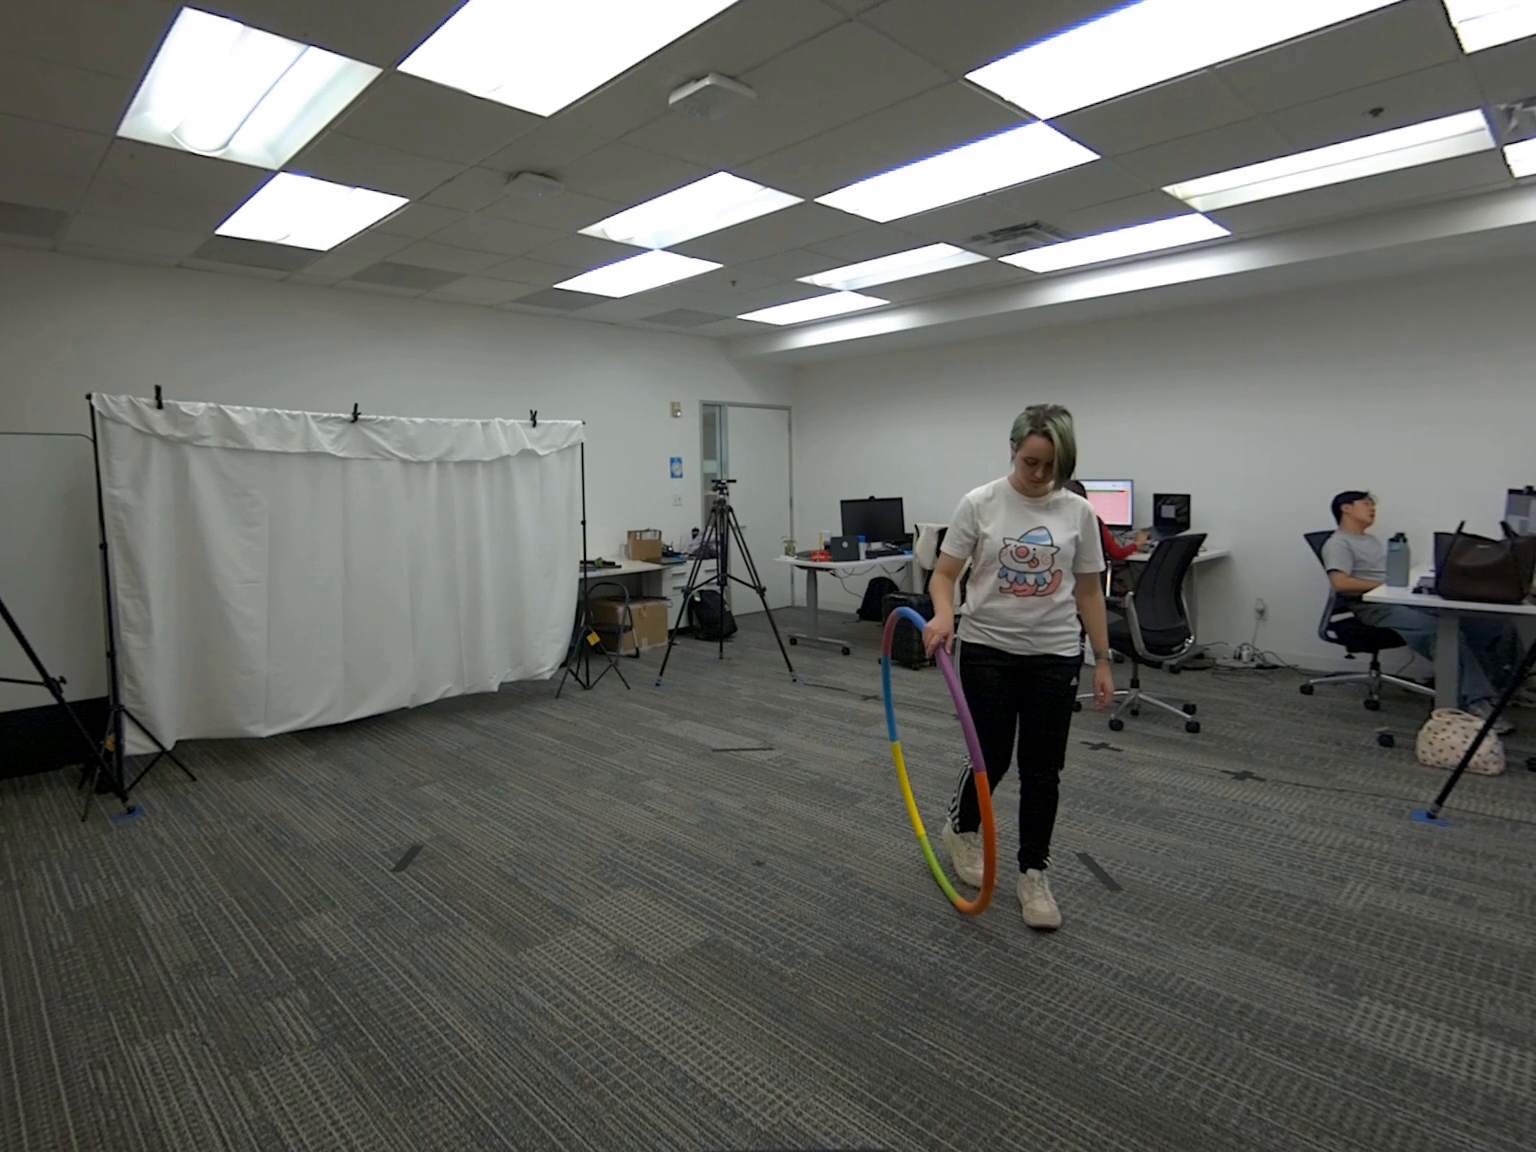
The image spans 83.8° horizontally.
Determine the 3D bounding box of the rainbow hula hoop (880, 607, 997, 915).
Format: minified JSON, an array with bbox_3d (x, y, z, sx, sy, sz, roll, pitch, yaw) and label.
[{"bbox_3d":[0.537,0.588,2.825,0.035,0.974,0.988,-10,5,-6],"label":"rainbow hula hoop"}]
